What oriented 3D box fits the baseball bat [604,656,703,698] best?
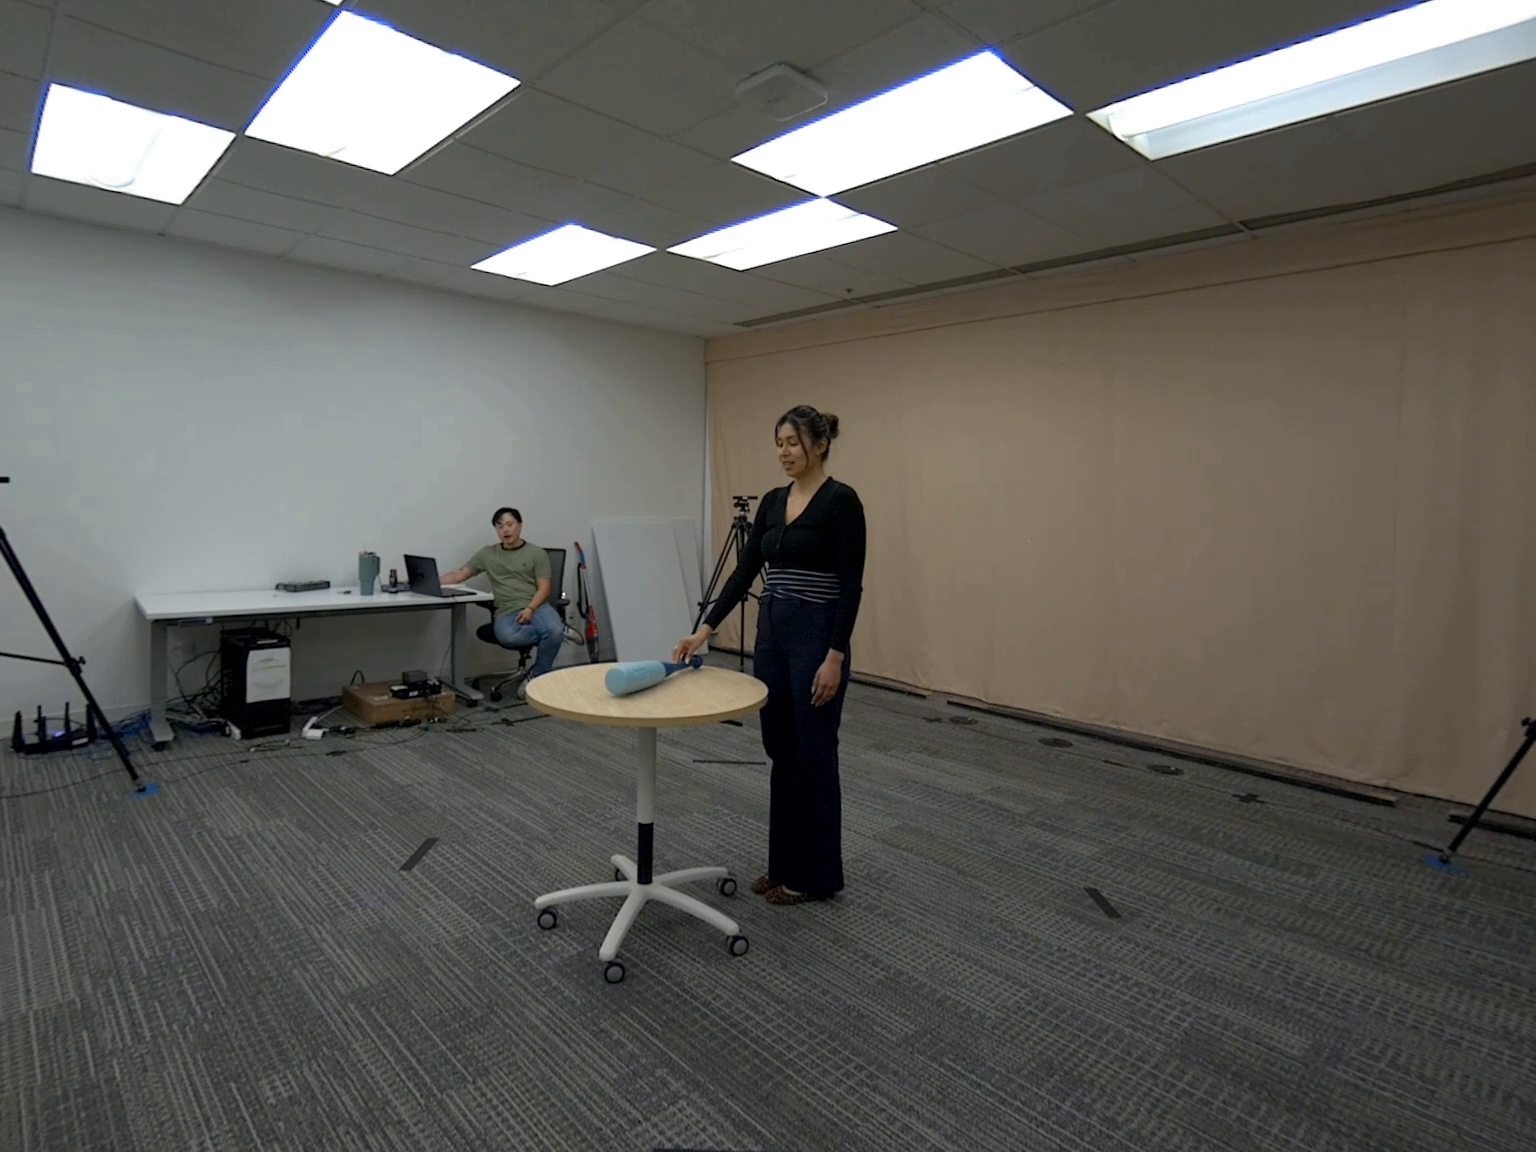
[{"bbox_3d":[-0.360,0.315,2.743,0.090,0.089,0.534,3,2,21],"label":"baseball bat"}]
